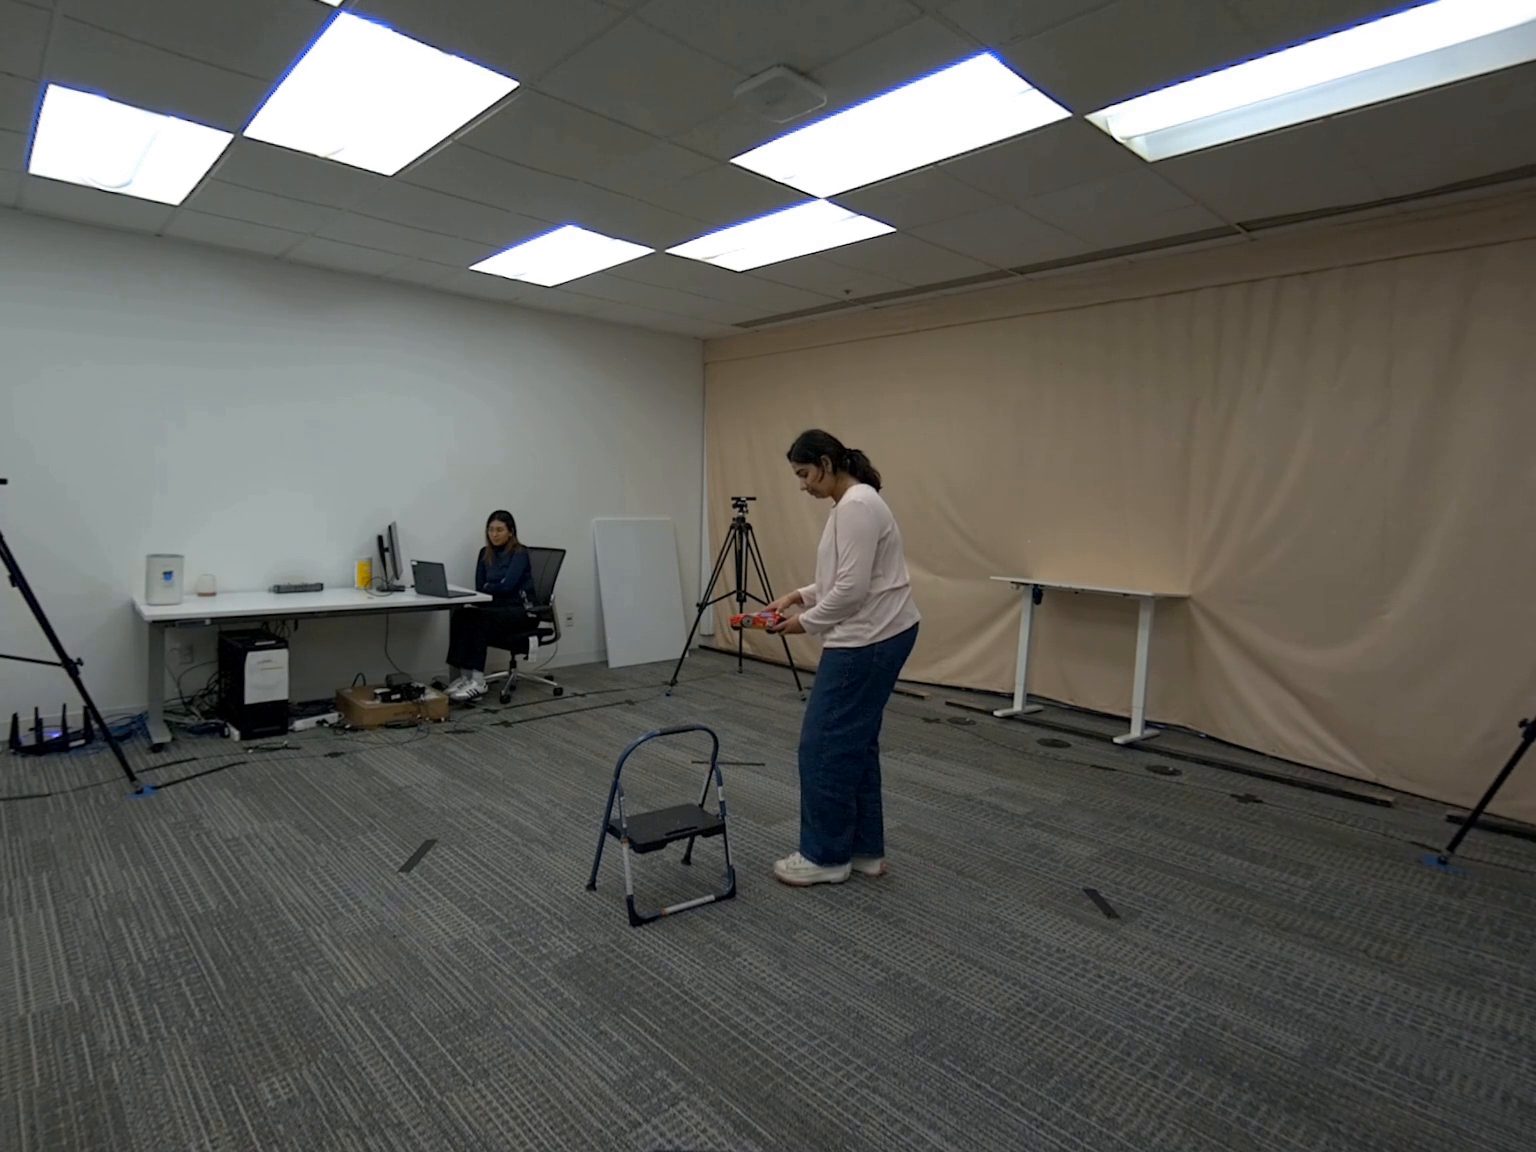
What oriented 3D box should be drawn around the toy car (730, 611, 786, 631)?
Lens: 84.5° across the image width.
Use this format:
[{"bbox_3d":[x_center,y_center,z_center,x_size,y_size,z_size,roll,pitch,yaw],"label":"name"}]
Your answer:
[{"bbox_3d":[-0.011,0.179,3.147,0.250,0.084,0.131,-1,-9,-23],"label":"toy car"}]
